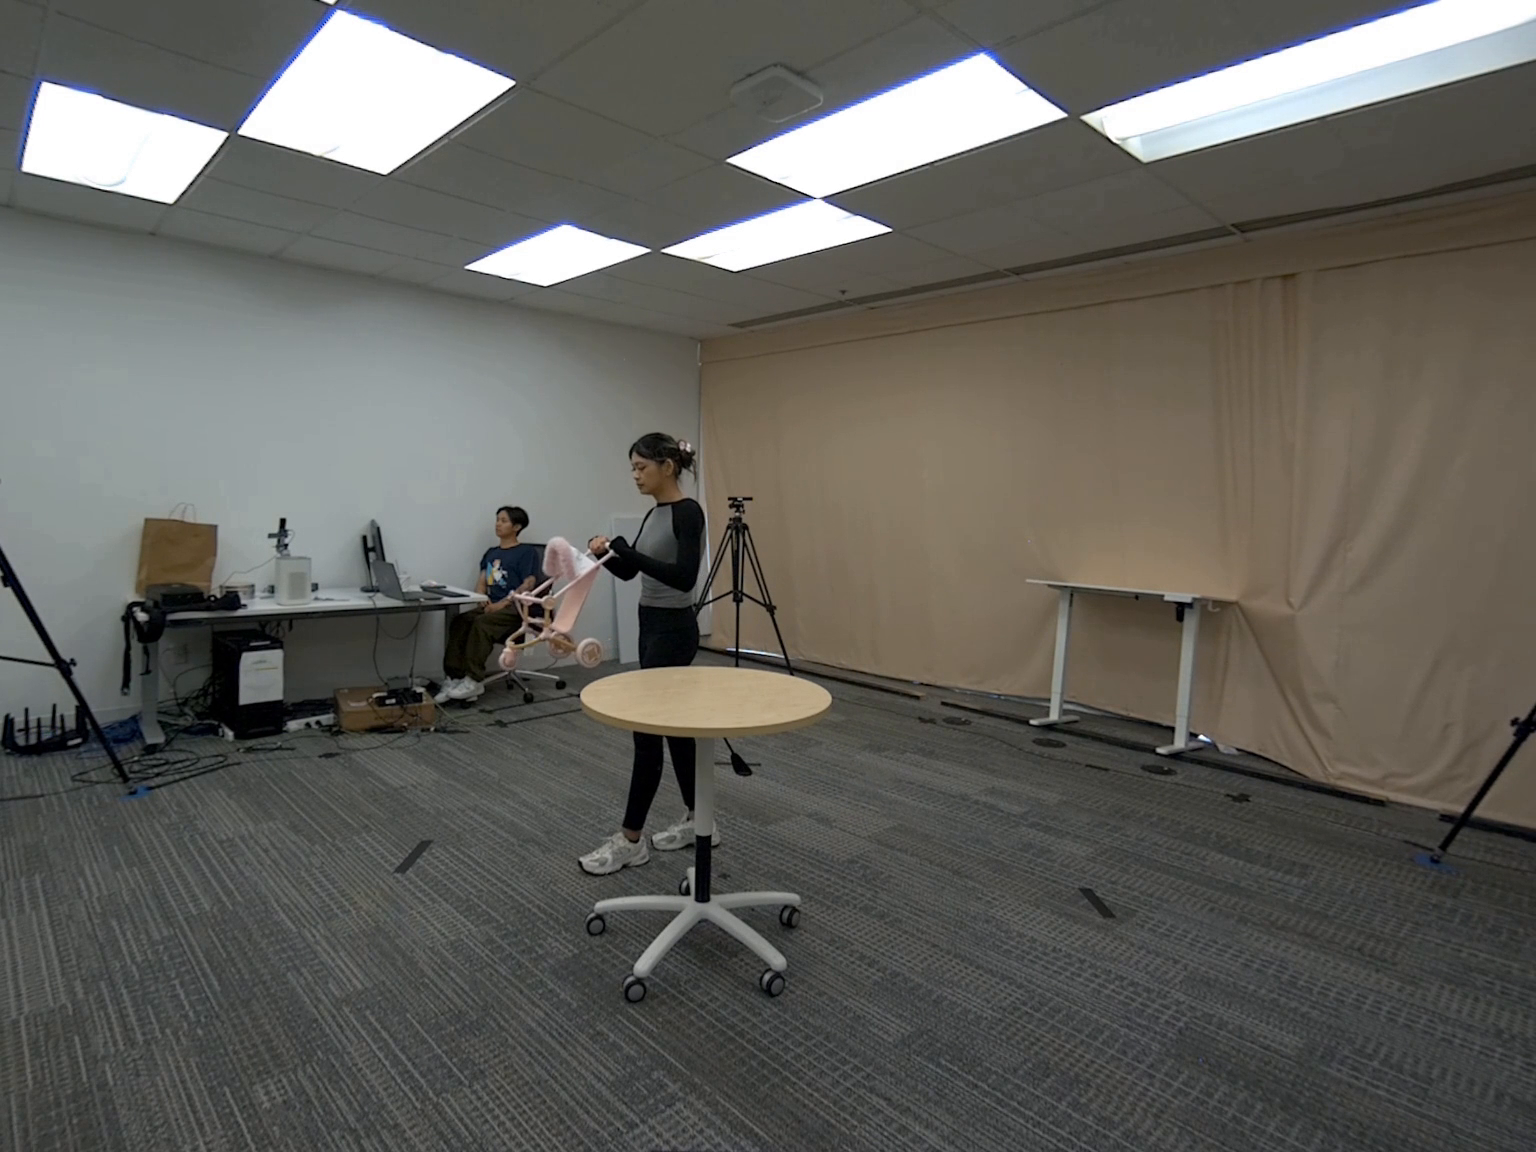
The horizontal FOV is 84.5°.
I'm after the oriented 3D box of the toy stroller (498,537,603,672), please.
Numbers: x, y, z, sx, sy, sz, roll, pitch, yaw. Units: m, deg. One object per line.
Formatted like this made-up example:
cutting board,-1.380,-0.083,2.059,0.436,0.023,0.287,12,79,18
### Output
toy stroller,-0.769,0.099,3.056,0.333,0.536,0.288,15,-6,-32
